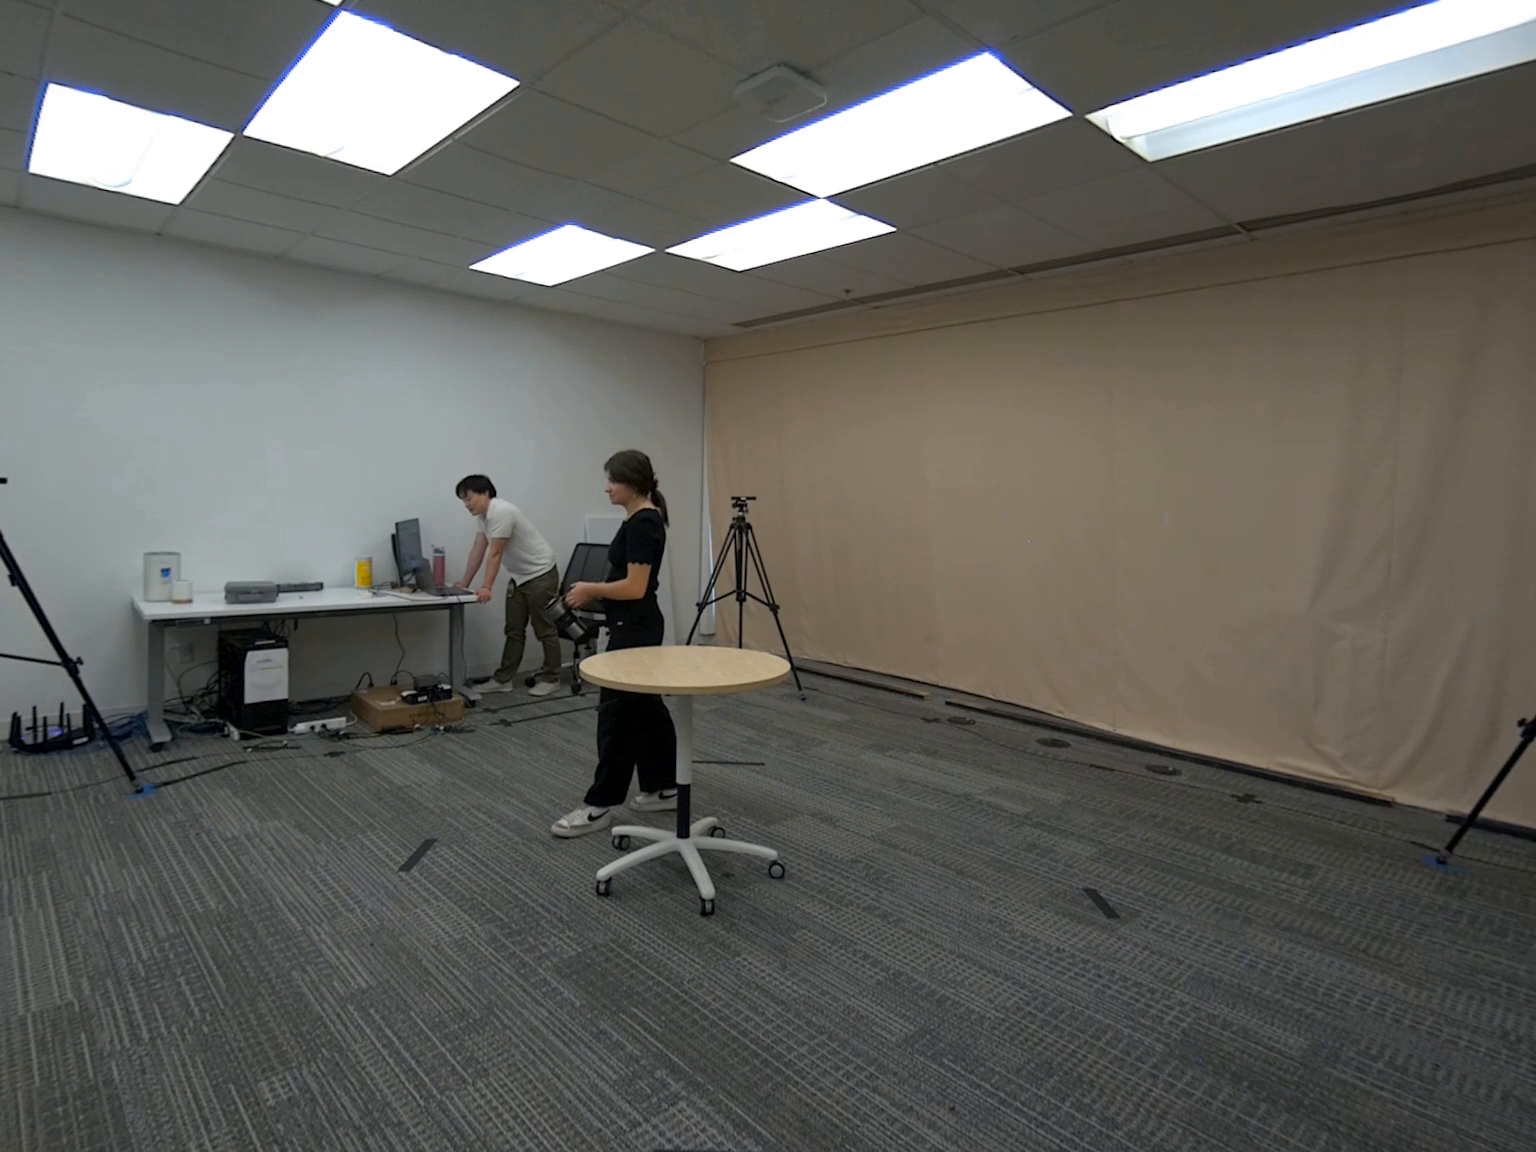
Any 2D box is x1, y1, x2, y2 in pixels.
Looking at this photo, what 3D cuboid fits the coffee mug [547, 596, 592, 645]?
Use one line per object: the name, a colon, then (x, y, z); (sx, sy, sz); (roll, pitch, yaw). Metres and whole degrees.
coffee mug: (-0.846, 0.192, 3.613); (0.122, 0.200, 0.089); (-44, 12, -15)
